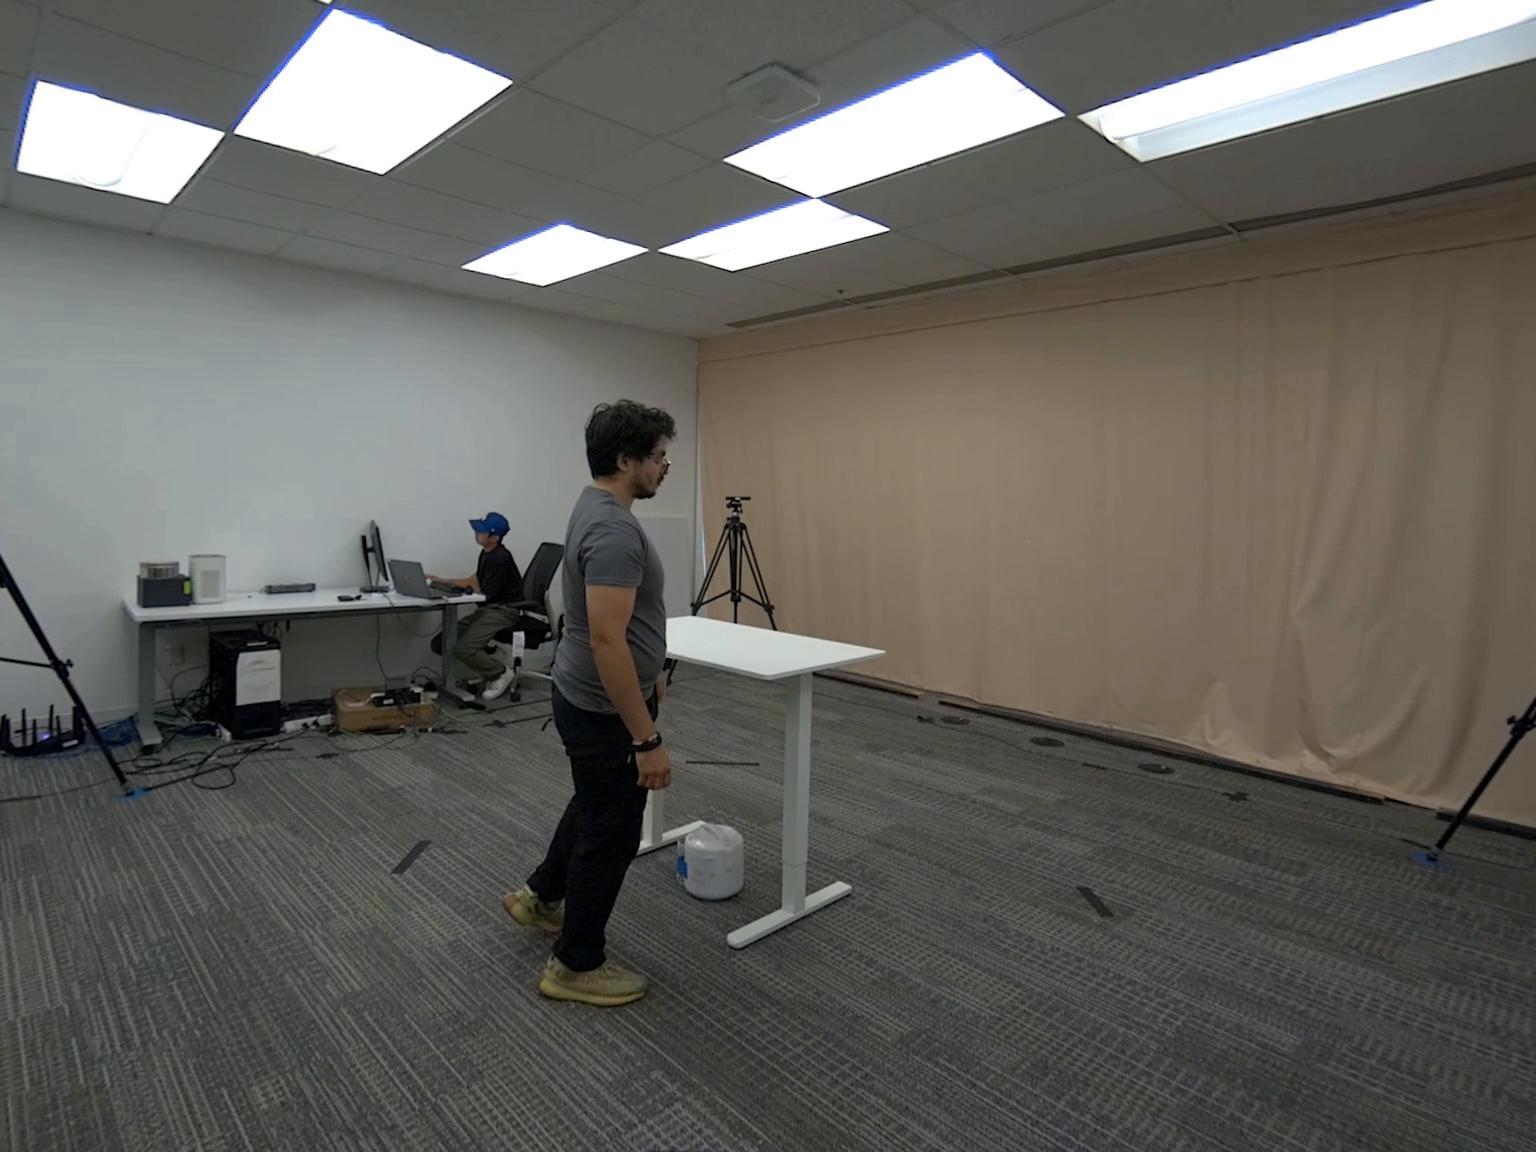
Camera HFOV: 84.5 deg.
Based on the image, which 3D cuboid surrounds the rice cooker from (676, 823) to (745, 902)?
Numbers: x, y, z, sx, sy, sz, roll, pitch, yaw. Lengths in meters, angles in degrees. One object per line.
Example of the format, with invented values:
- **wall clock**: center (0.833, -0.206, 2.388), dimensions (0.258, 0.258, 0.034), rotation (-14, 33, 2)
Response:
- **rice cooker**: center (-0.197, 1.003, 2.984), dimensions (0.213, 0.232, 0.226), rotation (-4, 6, -33)
